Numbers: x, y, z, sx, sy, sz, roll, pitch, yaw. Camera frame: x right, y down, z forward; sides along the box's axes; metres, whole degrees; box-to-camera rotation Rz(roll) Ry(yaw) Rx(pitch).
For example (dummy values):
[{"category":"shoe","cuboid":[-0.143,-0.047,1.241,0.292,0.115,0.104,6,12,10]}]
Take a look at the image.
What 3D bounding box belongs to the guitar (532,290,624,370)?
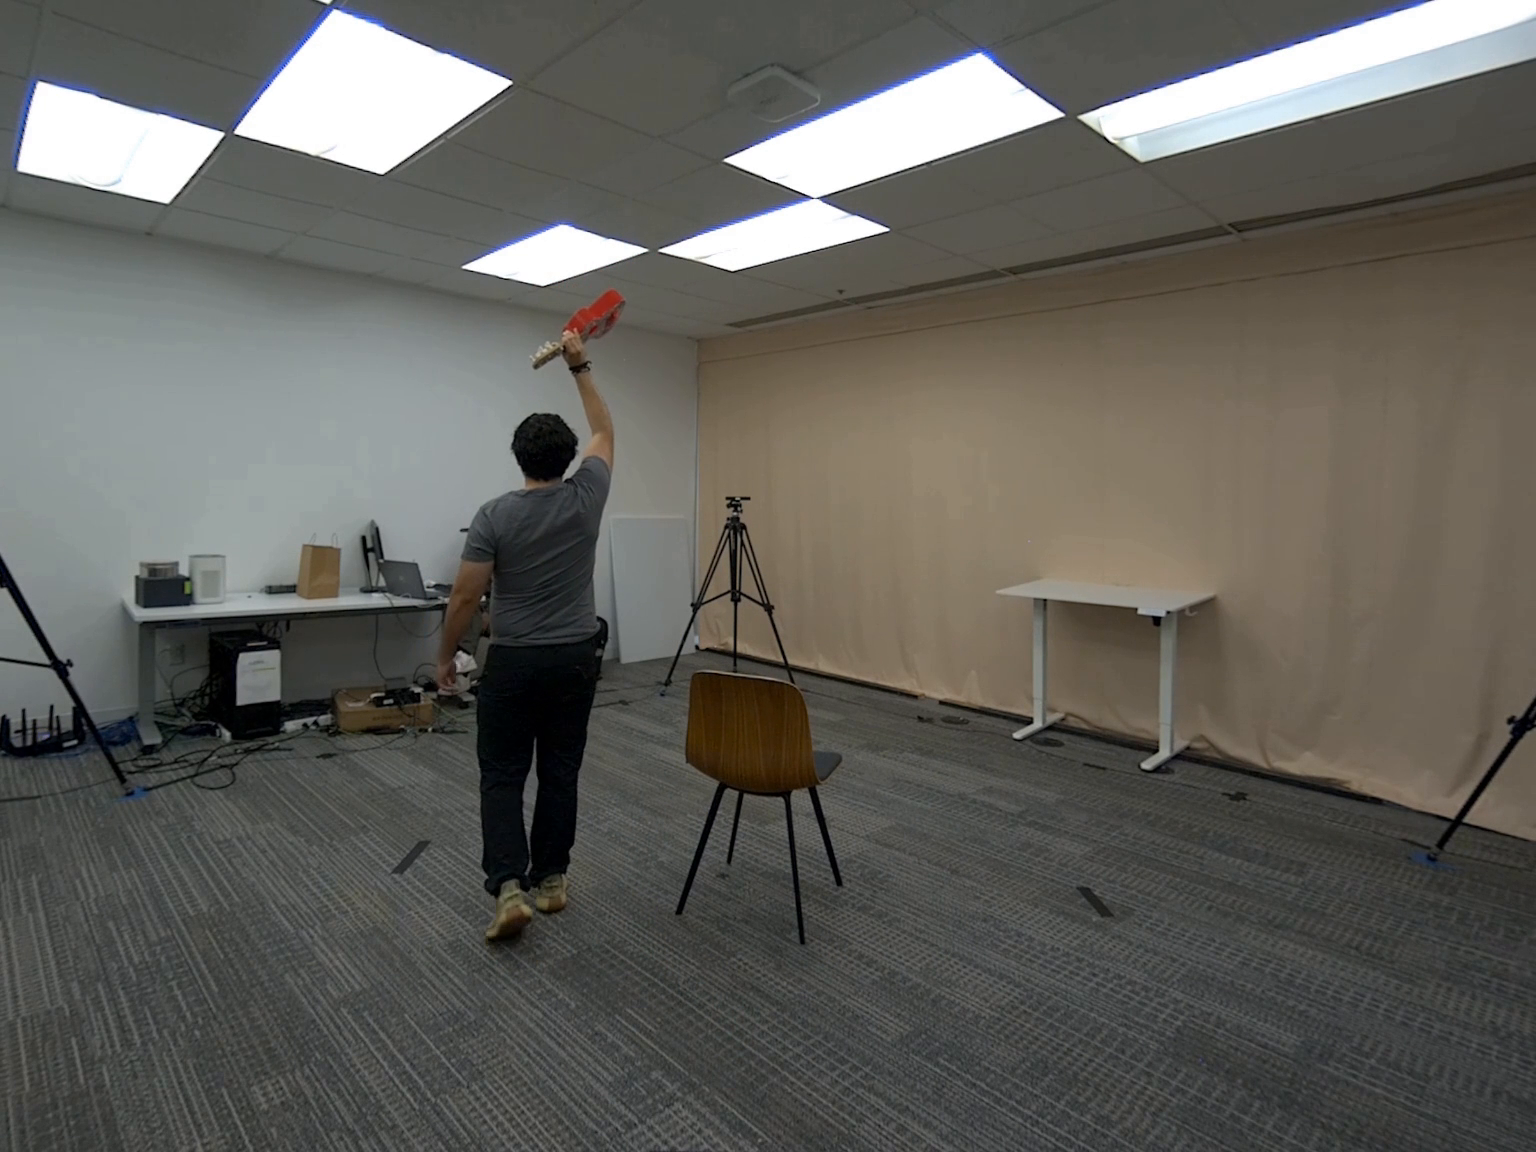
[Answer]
[{"category":"guitar","cuboid":[-0.678,-0.876,2.967,0.193,0.070,0.498,-46,3,37]}]
